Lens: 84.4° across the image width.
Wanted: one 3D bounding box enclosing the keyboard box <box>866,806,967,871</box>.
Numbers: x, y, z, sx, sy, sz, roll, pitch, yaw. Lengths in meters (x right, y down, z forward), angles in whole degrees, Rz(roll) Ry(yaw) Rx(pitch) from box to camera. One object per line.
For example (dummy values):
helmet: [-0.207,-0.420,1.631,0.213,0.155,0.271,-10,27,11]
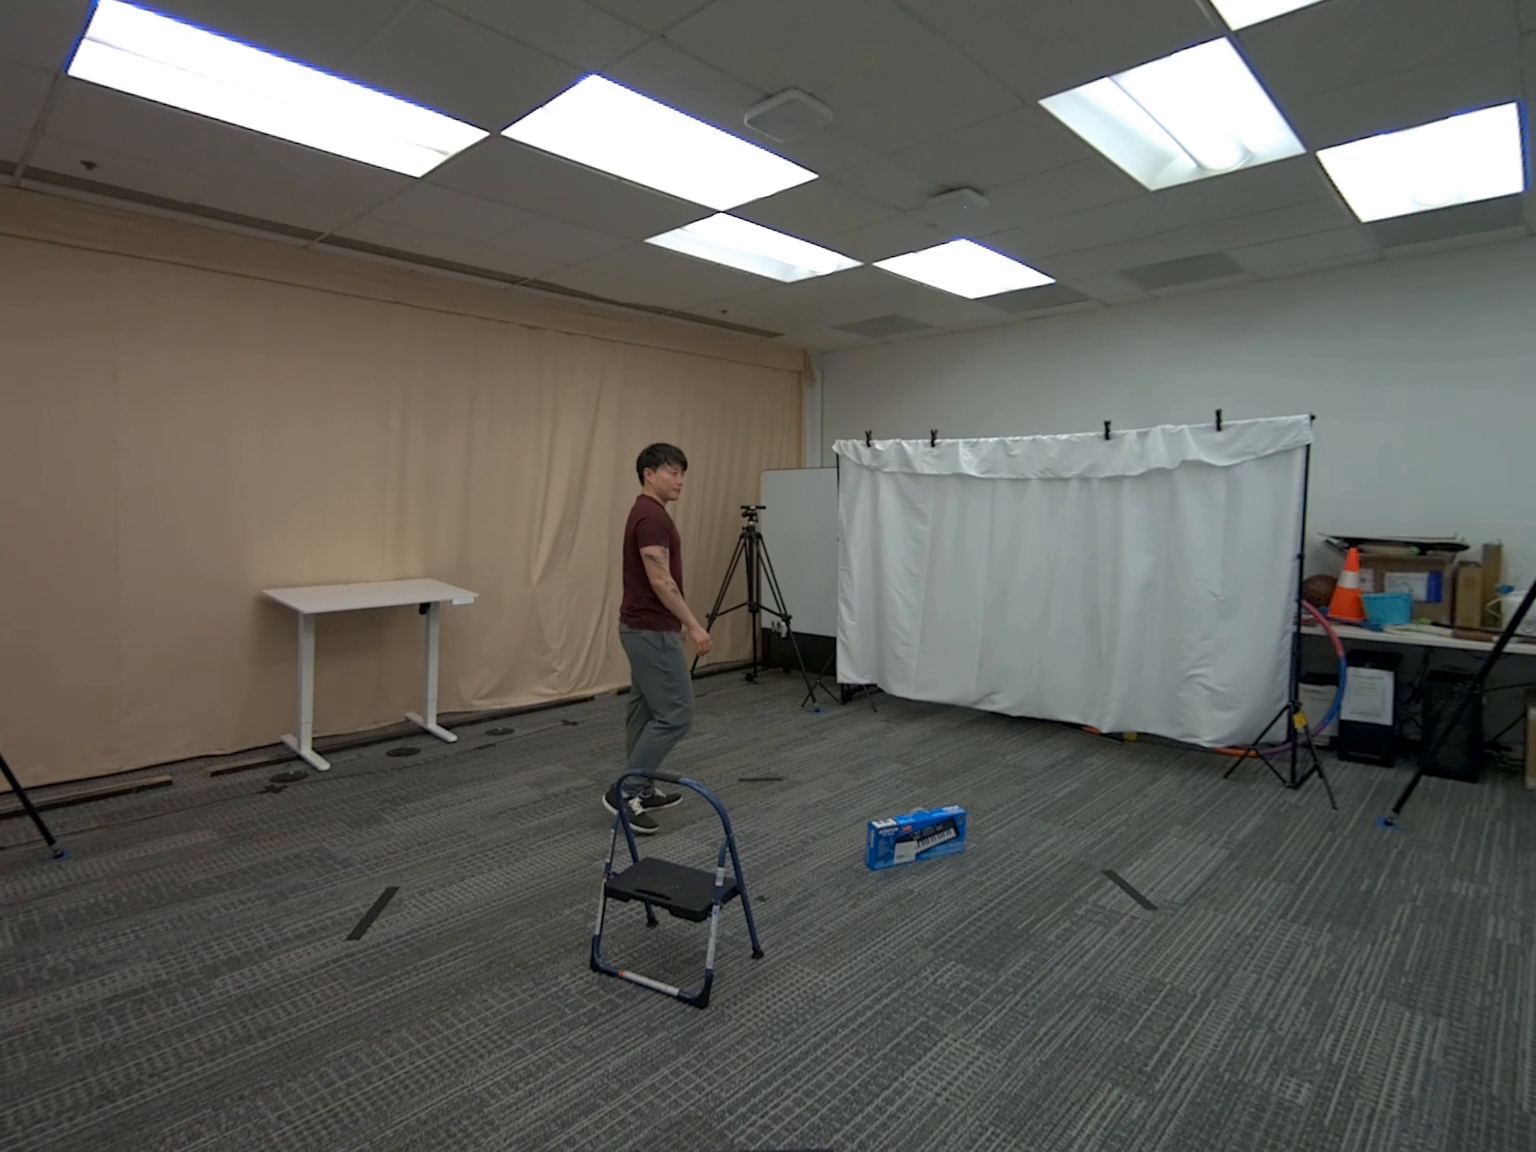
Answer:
keyboard box: [0.585,1.028,3.309,0.426,0.175,0.061,-2,10,-25]
